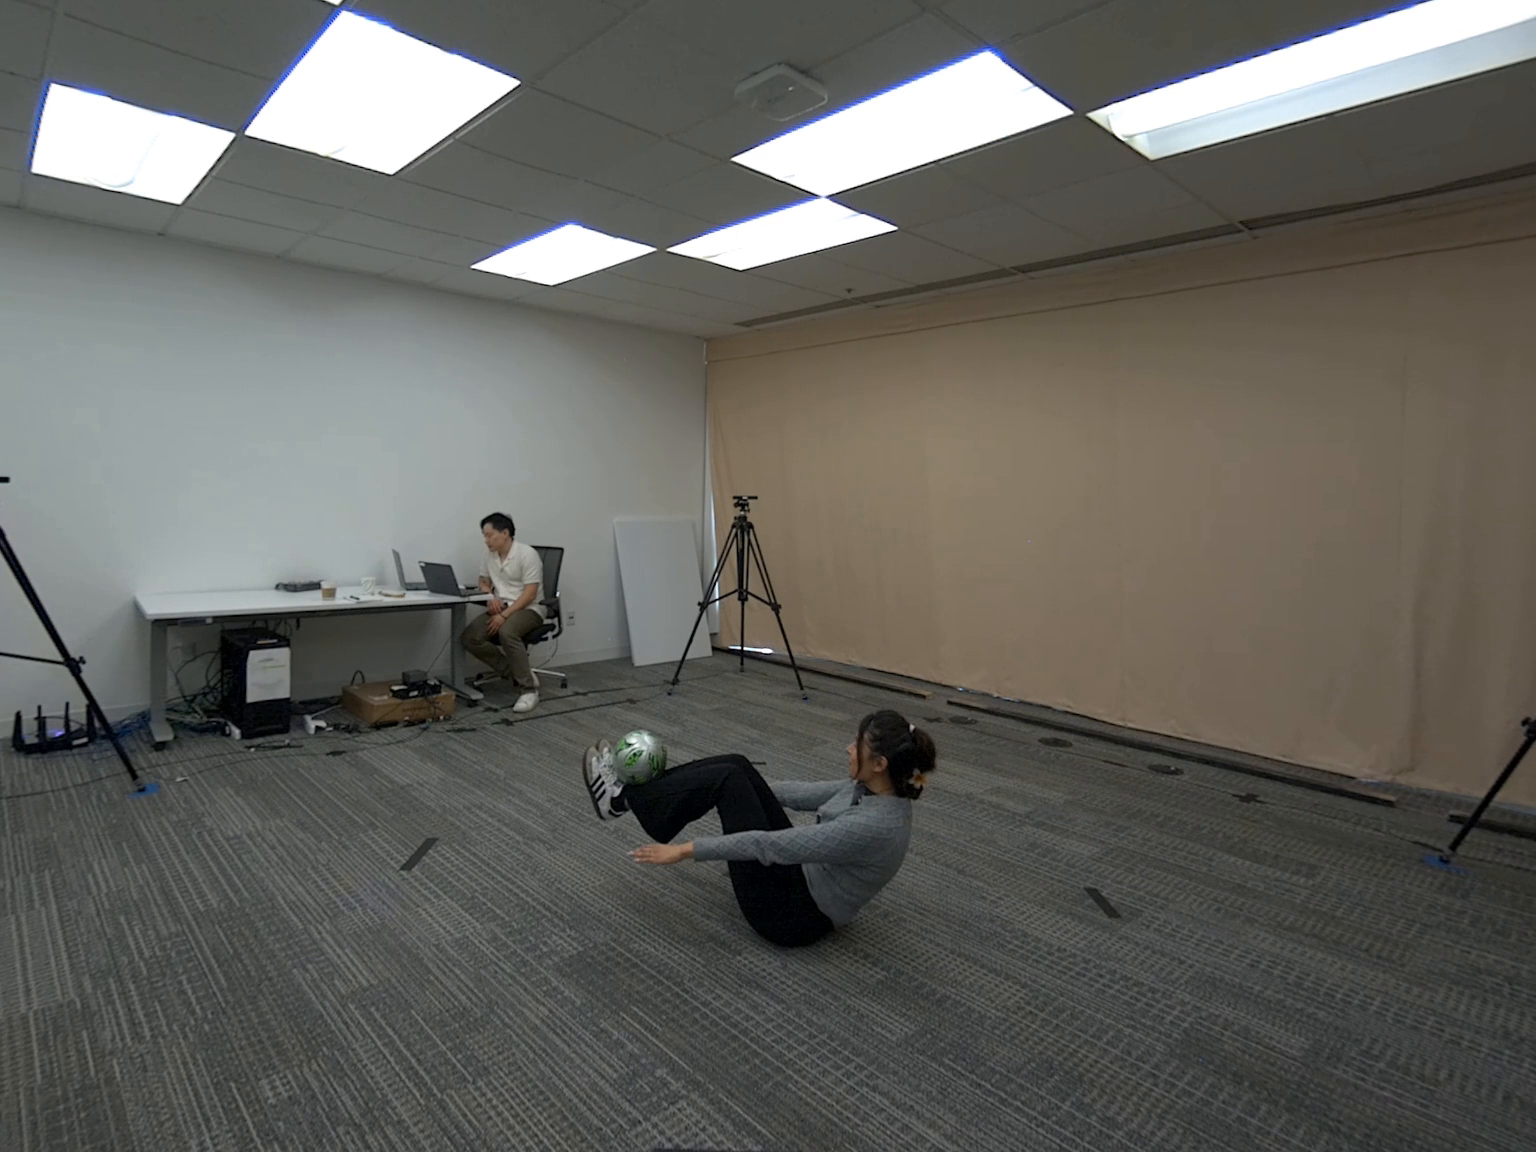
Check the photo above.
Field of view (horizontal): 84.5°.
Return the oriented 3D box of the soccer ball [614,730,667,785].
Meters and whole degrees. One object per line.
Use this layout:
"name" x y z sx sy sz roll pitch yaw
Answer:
"soccer ball" -0.454 0.632 2.884 0.187 0.187 0.188 1 4 -1
